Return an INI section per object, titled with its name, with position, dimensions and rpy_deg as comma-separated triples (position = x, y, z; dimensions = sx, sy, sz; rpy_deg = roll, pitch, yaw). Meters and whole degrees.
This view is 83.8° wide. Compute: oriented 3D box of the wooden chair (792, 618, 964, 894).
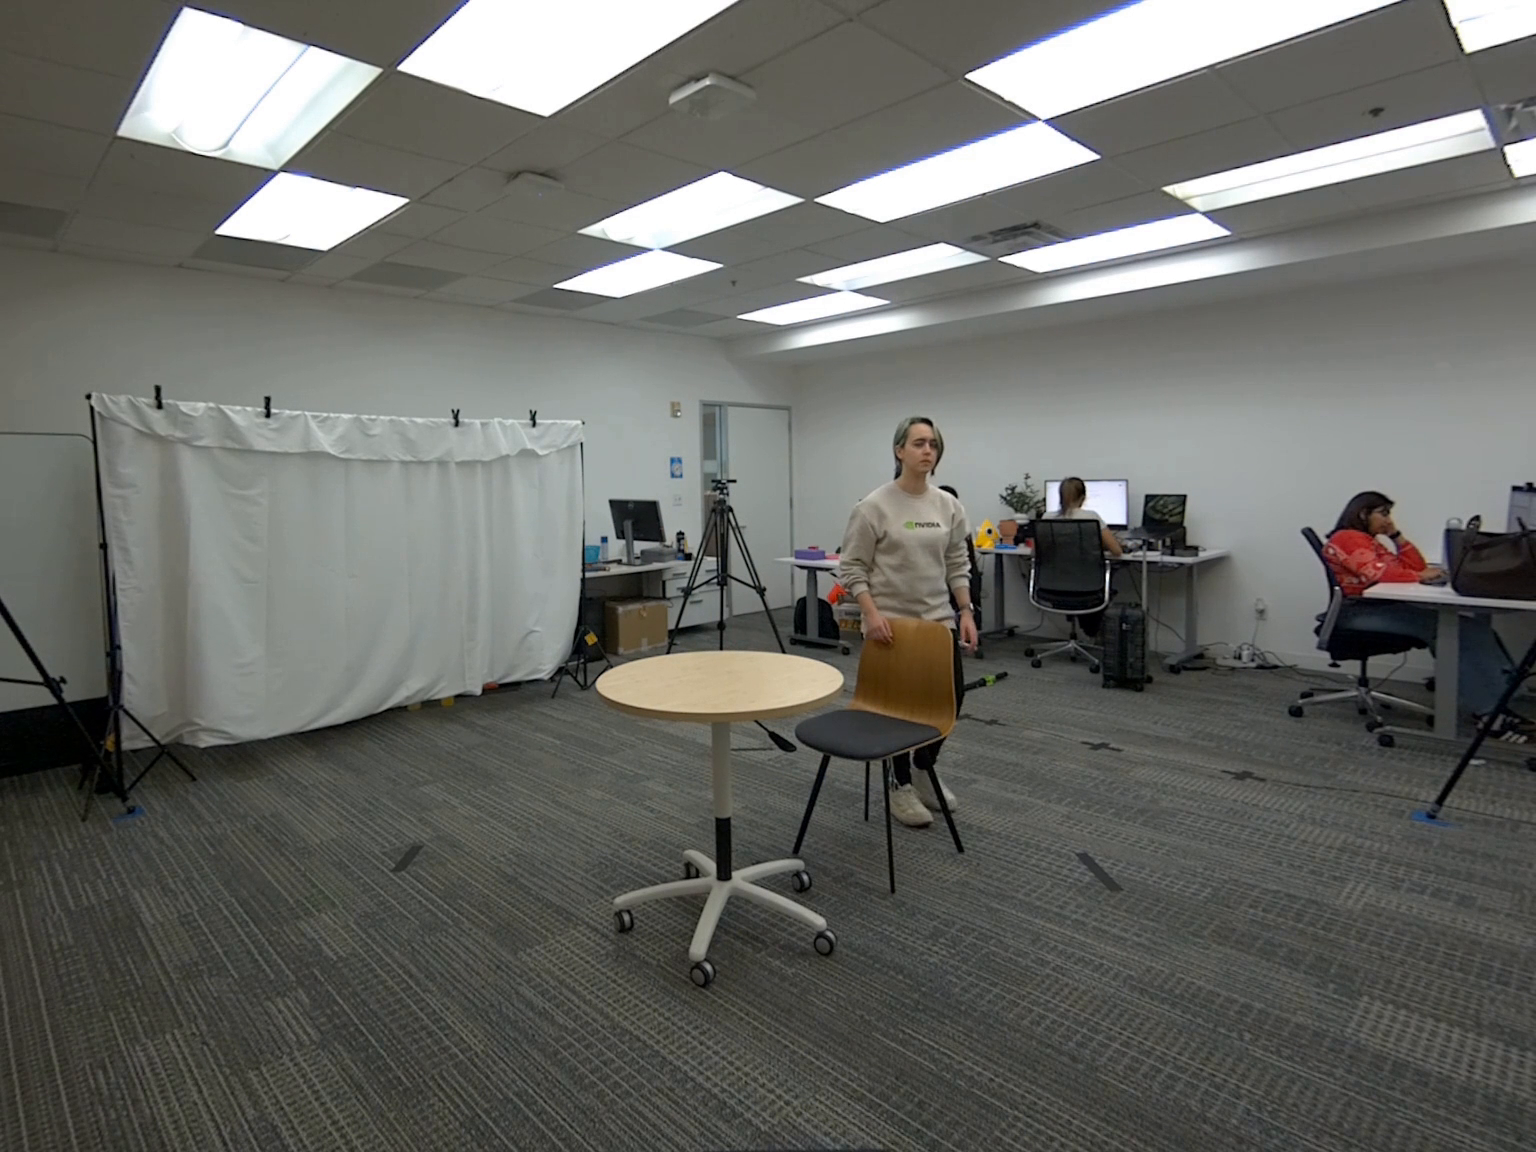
[wooden chair]
position = 0.400, 0.606, 3.137
dimensions = 0.493, 0.877, 0.507
rpy_deg = 4, 1, 45
